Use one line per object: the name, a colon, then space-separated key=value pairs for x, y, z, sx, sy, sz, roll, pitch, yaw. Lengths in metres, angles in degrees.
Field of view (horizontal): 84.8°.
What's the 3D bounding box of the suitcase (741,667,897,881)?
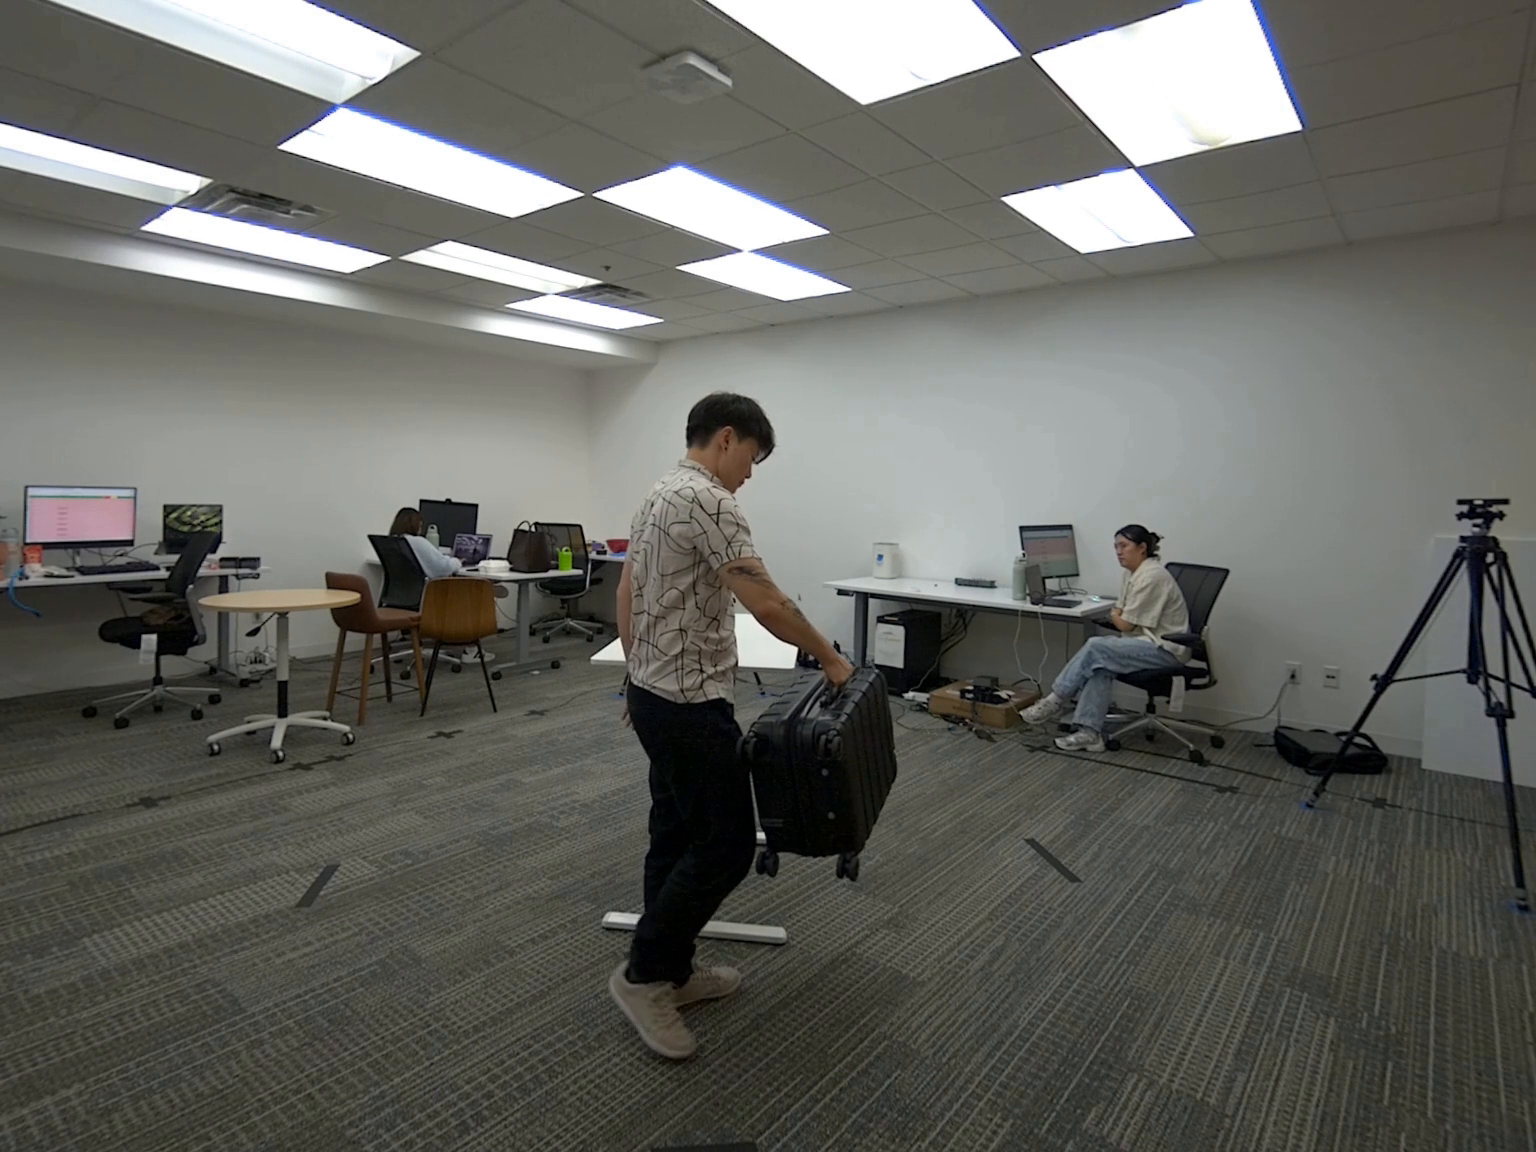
suitcase: x=0.158 y=0.474 z=2.213 sx=0.253 sy=0.372 sz=0.544 roll=-7 pitch=10 yaw=22
